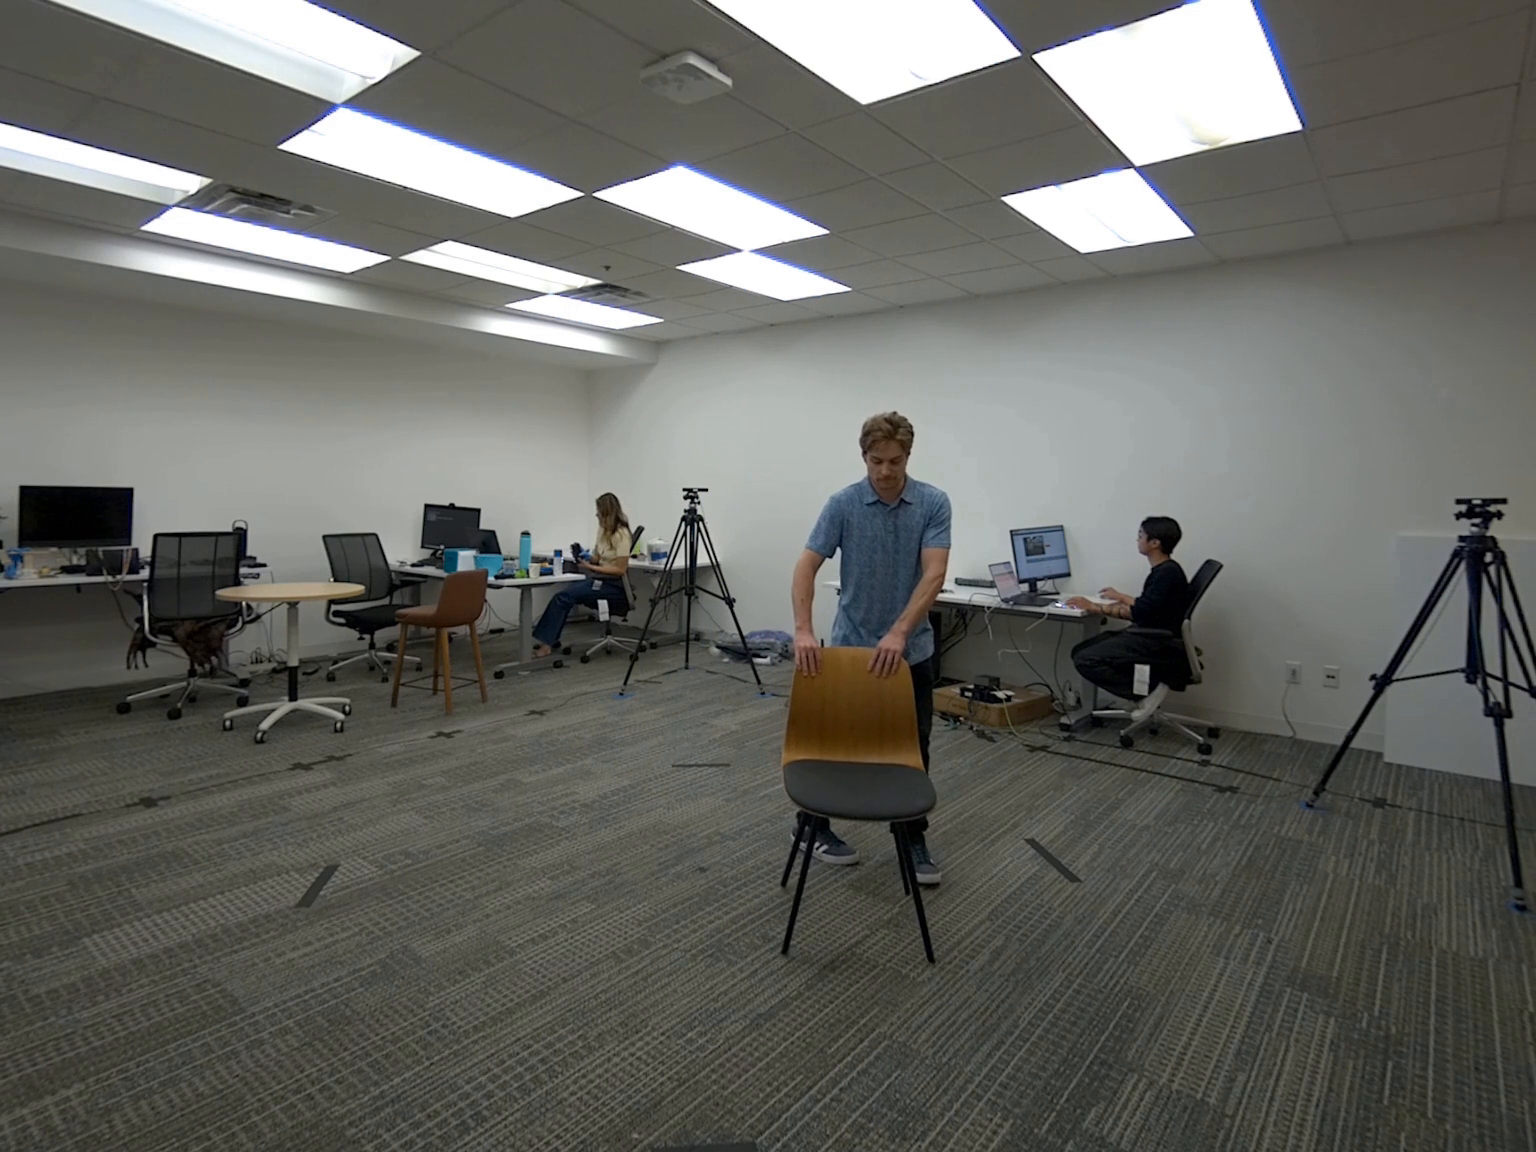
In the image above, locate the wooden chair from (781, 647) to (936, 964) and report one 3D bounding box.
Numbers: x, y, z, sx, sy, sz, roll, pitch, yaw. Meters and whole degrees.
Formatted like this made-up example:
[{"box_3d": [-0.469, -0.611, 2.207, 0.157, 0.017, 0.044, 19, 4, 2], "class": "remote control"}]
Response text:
[{"box_3d": [0.272, 0.689, 2.717, 0.480, 0.878, 0.521, 2, -1, 2], "class": "wooden chair"}]
